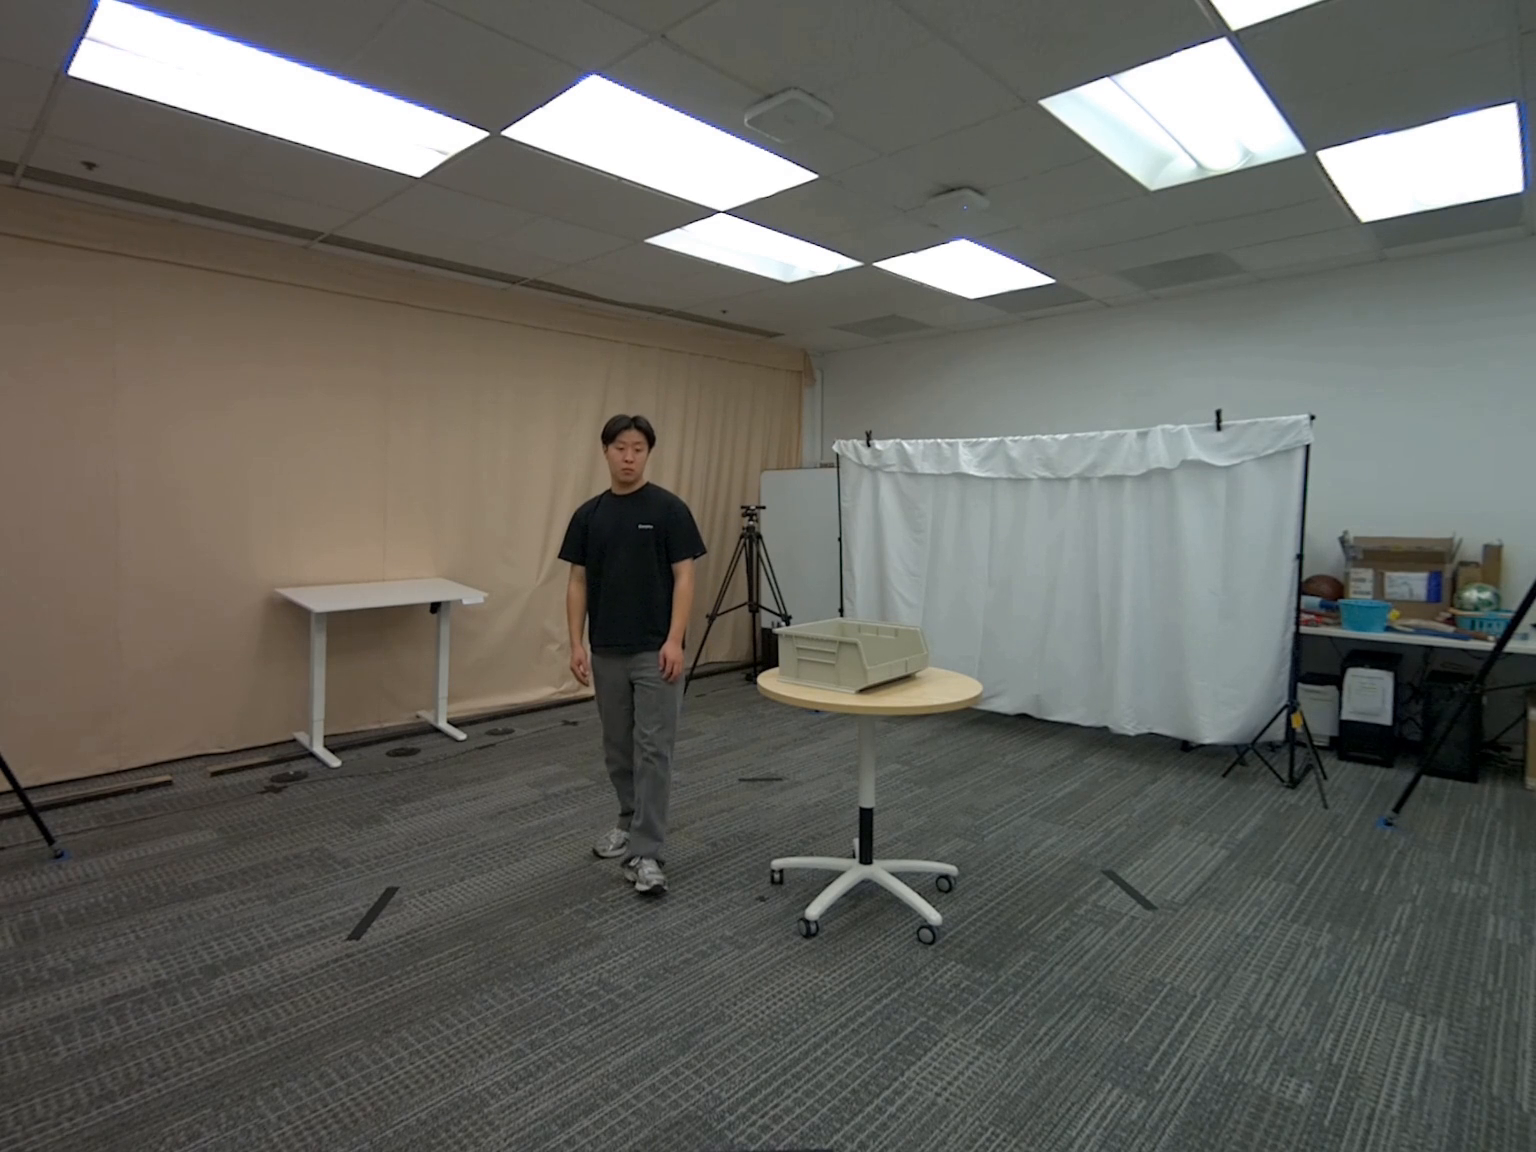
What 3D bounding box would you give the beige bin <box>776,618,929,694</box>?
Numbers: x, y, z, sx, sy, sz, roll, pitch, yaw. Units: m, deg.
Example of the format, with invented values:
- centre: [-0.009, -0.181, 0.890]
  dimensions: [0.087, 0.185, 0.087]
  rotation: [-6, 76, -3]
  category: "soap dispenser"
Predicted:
- centre: [0.298, 0.274, 2.943]
  dimensions: [0.389, 0.188, 0.410]
  rotation: [2, 5, 39]
  category: "beige bin"
